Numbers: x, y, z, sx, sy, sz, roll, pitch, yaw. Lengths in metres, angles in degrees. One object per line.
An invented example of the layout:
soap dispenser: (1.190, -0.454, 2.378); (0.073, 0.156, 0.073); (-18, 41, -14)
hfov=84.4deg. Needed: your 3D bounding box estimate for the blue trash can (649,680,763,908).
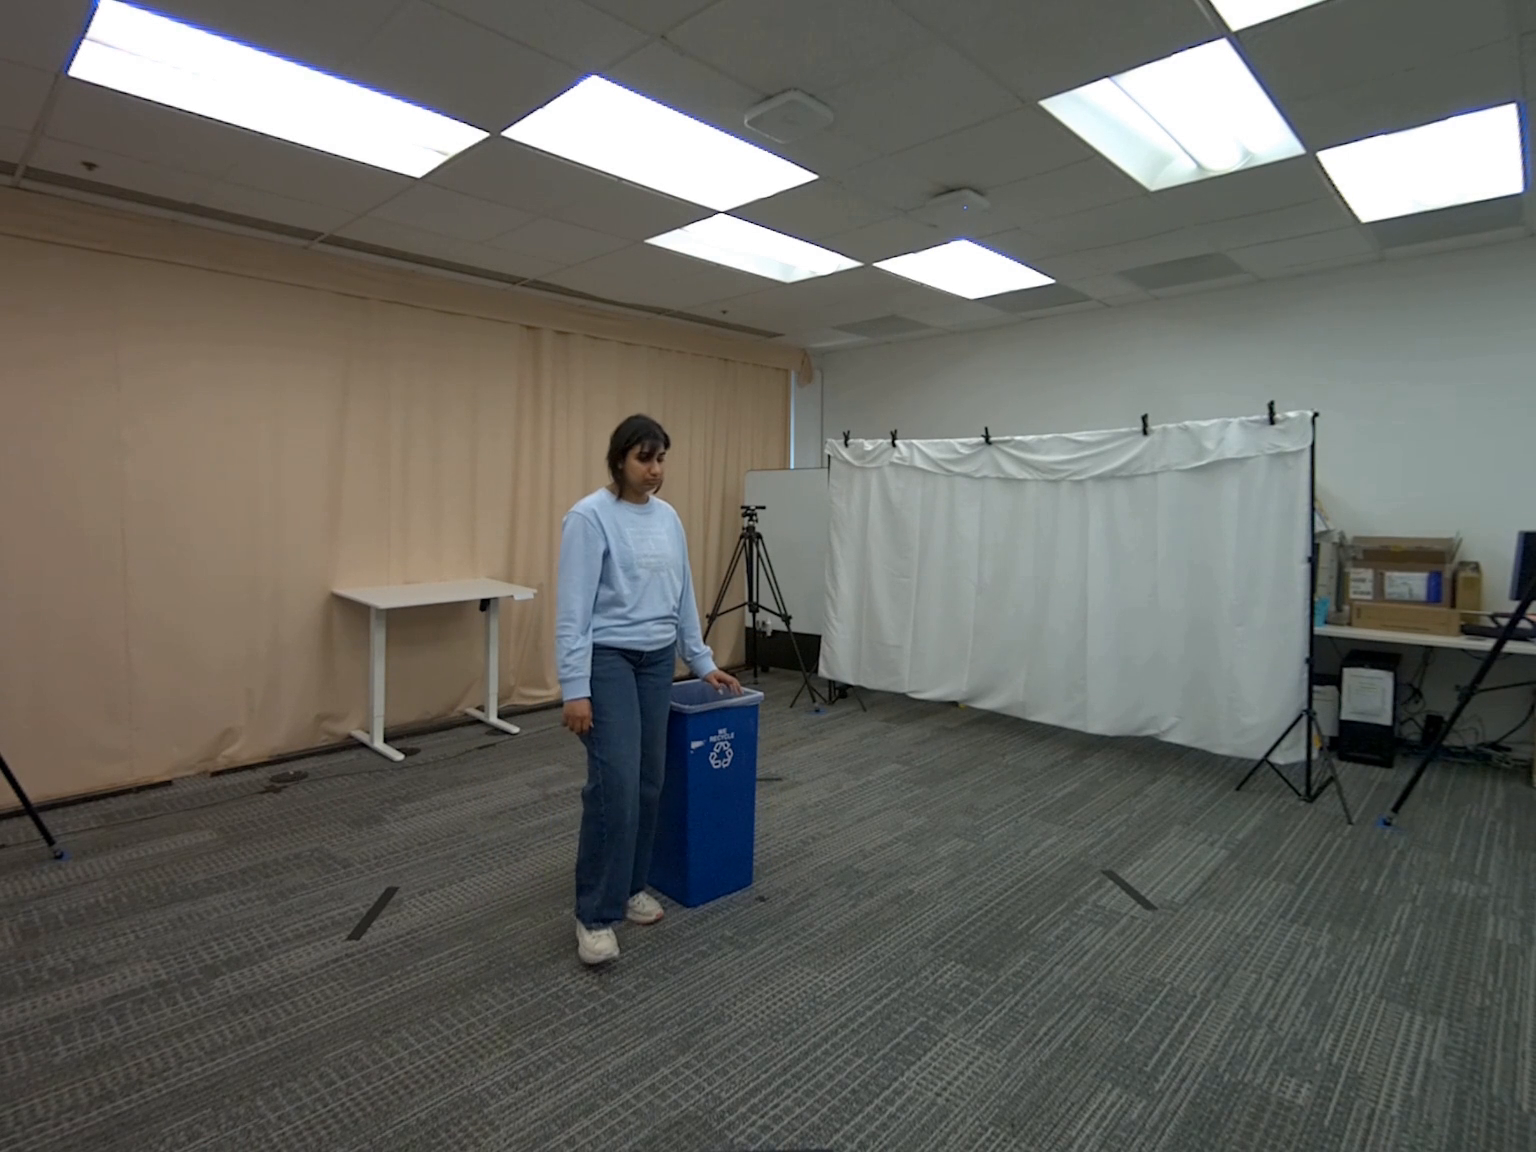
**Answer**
blue trash can: (-0.257, 0.776, 3.105); (0.363, 0.712, 0.390); (-3, 5, -40)
